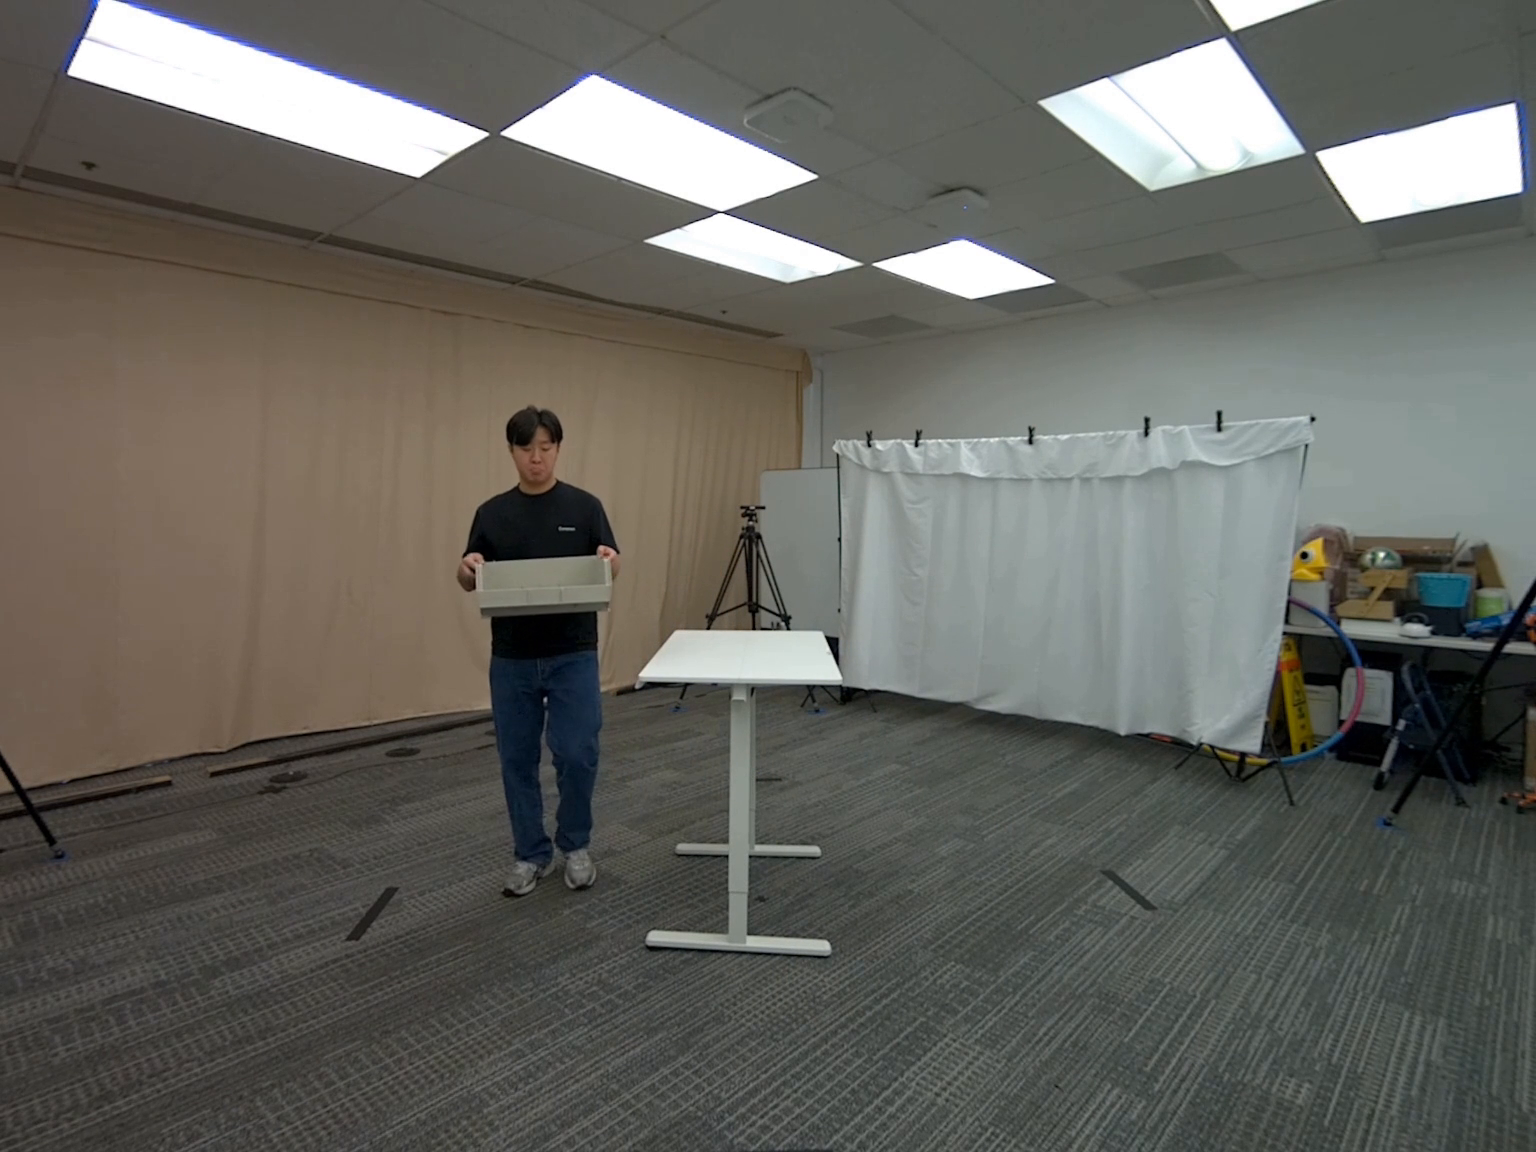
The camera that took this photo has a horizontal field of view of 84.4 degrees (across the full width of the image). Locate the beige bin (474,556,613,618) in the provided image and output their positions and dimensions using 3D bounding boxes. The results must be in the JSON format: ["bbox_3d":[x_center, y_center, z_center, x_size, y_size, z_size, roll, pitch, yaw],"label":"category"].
[{"bbox_3d":[-0.745,0.037,2.817,0.416,0.189,0.383,-4,2,-14],"label":"beige bin"}]
